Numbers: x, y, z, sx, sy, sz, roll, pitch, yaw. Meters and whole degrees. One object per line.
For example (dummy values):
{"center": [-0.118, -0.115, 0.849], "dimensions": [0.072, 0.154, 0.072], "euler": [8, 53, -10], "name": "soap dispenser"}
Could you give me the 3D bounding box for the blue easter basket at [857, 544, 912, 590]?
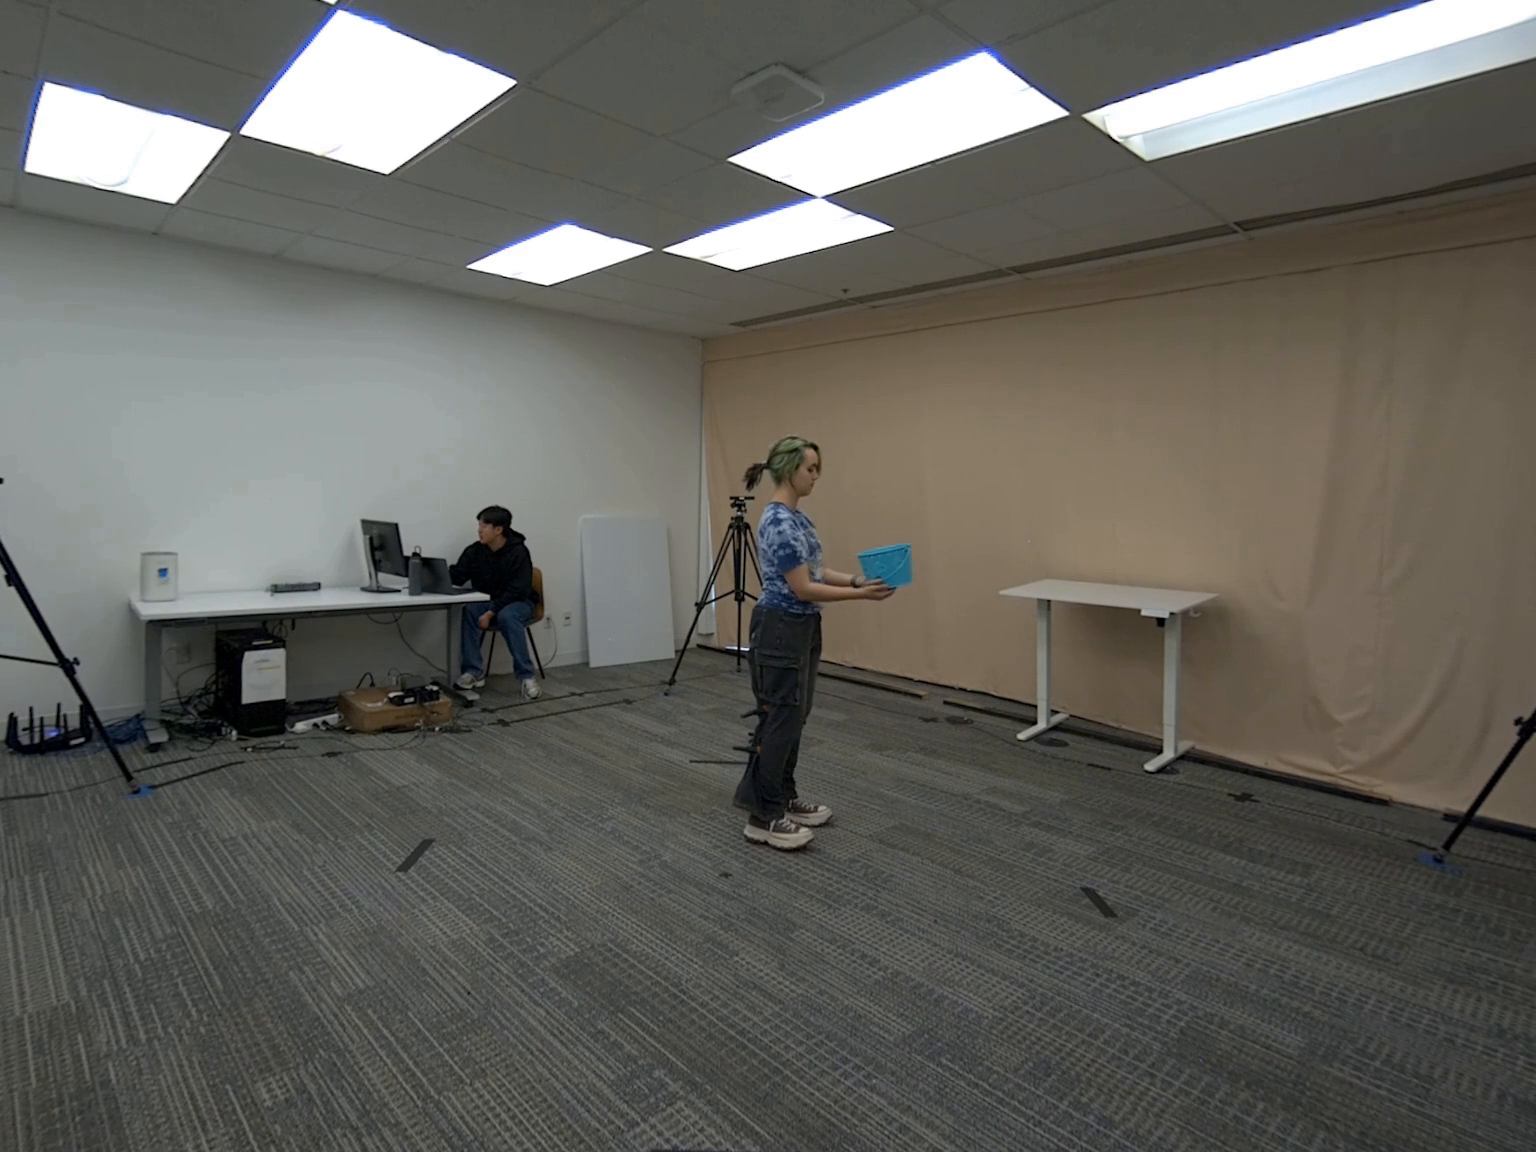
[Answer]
{"center": [0.468, -0.033, 3.463], "dimensions": [0.243, 0.155, 0.244], "euler": [-11, 4, -1], "name": "blue easter basket"}
